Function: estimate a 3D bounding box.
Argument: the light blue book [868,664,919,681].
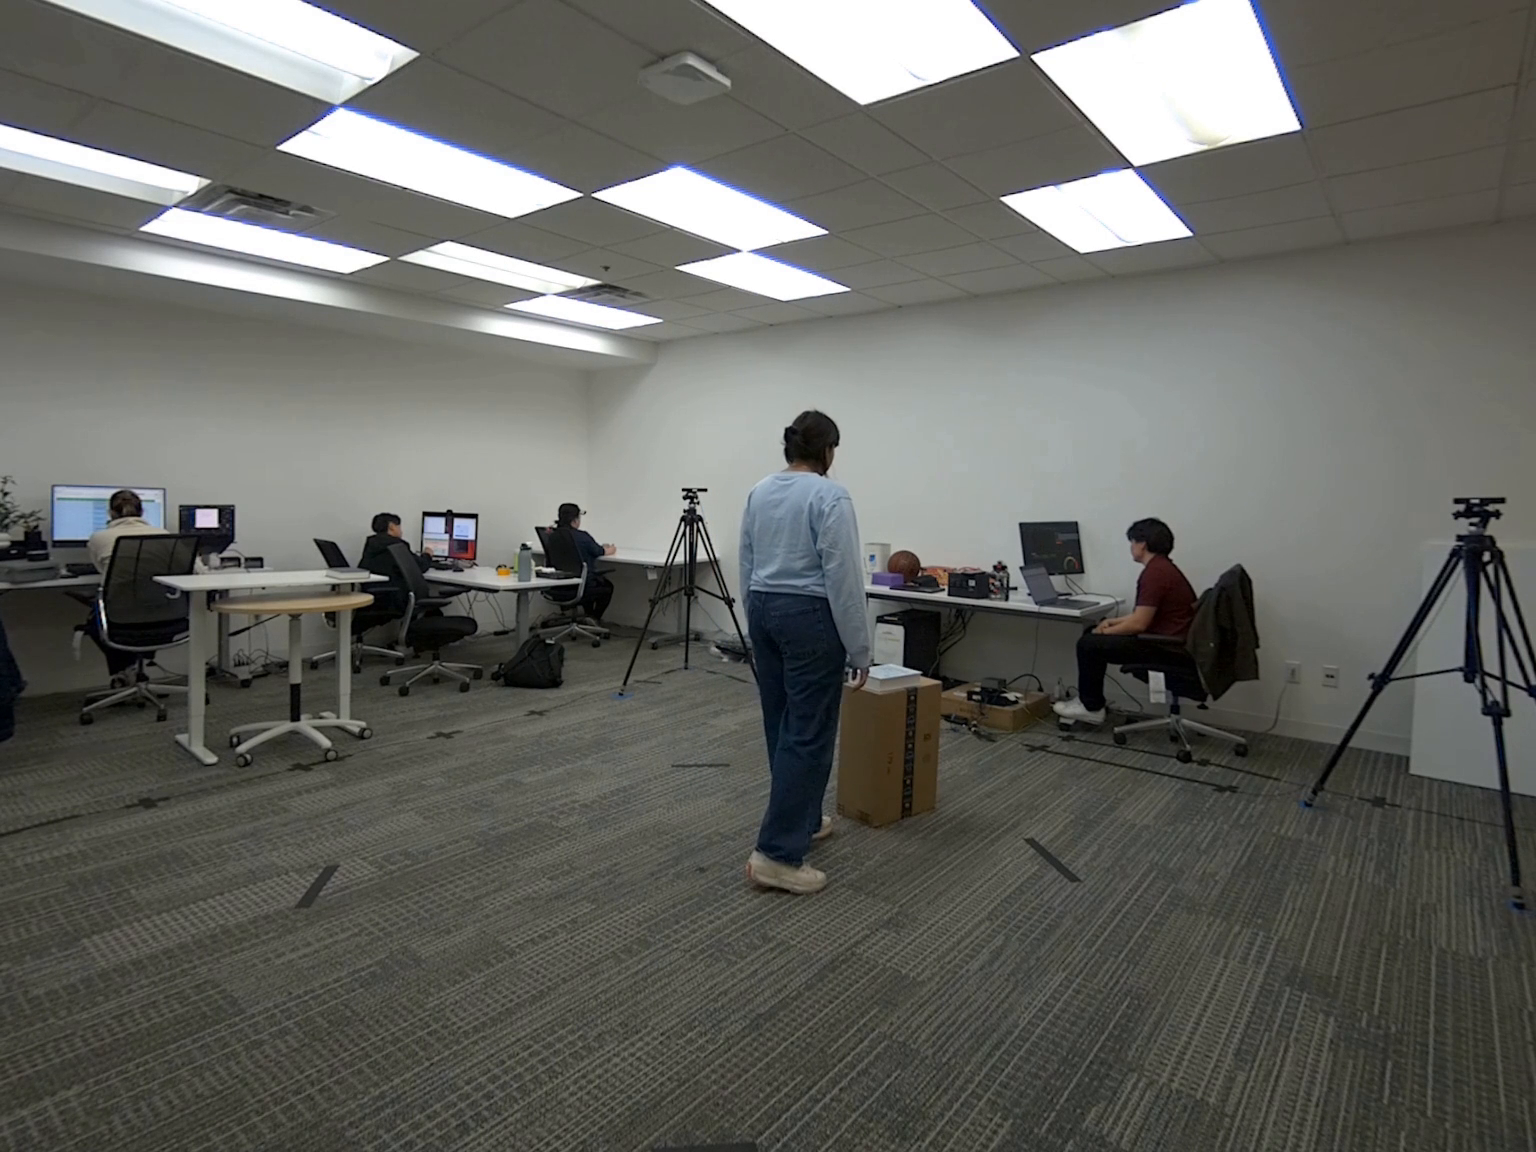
[{"bbox_3d":[0.499,0.436,3.668,0.253,0.059,0.198,-4,9,-38],"label":"light blue book"}]
